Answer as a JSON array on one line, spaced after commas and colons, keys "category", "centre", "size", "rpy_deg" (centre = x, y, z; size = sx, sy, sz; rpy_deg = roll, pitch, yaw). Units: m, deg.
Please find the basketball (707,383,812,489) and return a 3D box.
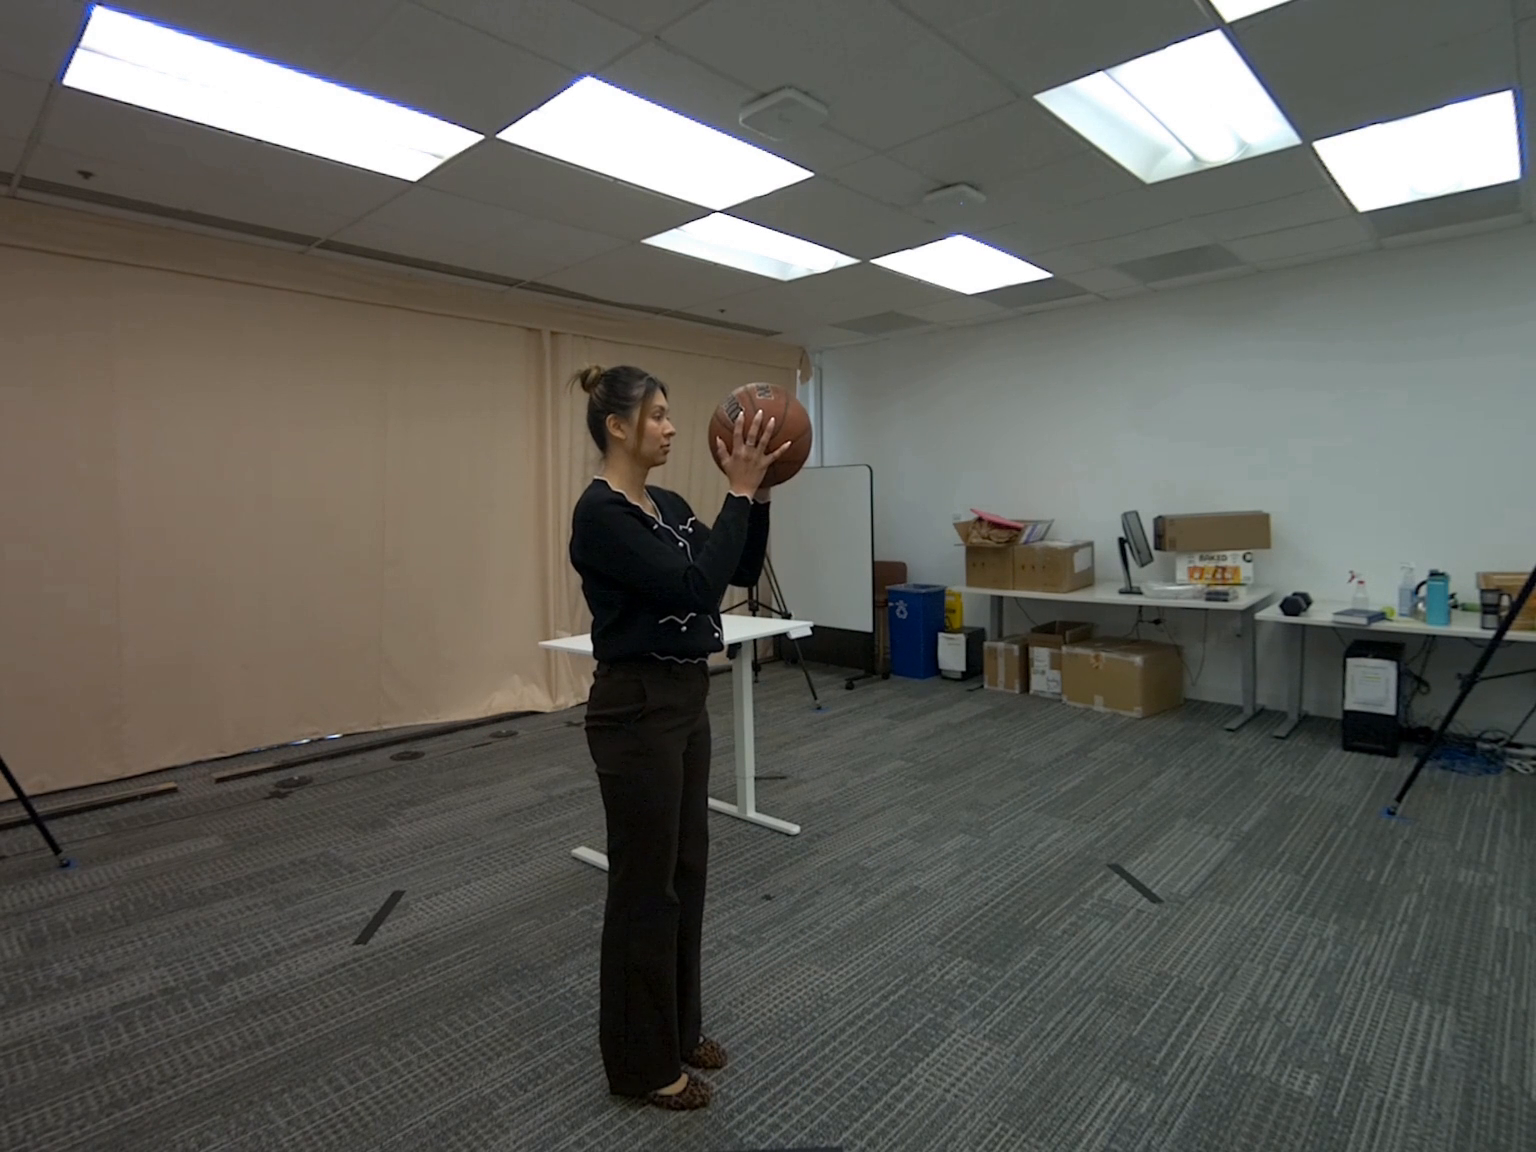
[{"category": "basketball", "centre": [-0.013, -0.314, 1.888], "size": [0.236, 0.235, 0.237], "rpy_deg": [-1, 4, -2]}]
